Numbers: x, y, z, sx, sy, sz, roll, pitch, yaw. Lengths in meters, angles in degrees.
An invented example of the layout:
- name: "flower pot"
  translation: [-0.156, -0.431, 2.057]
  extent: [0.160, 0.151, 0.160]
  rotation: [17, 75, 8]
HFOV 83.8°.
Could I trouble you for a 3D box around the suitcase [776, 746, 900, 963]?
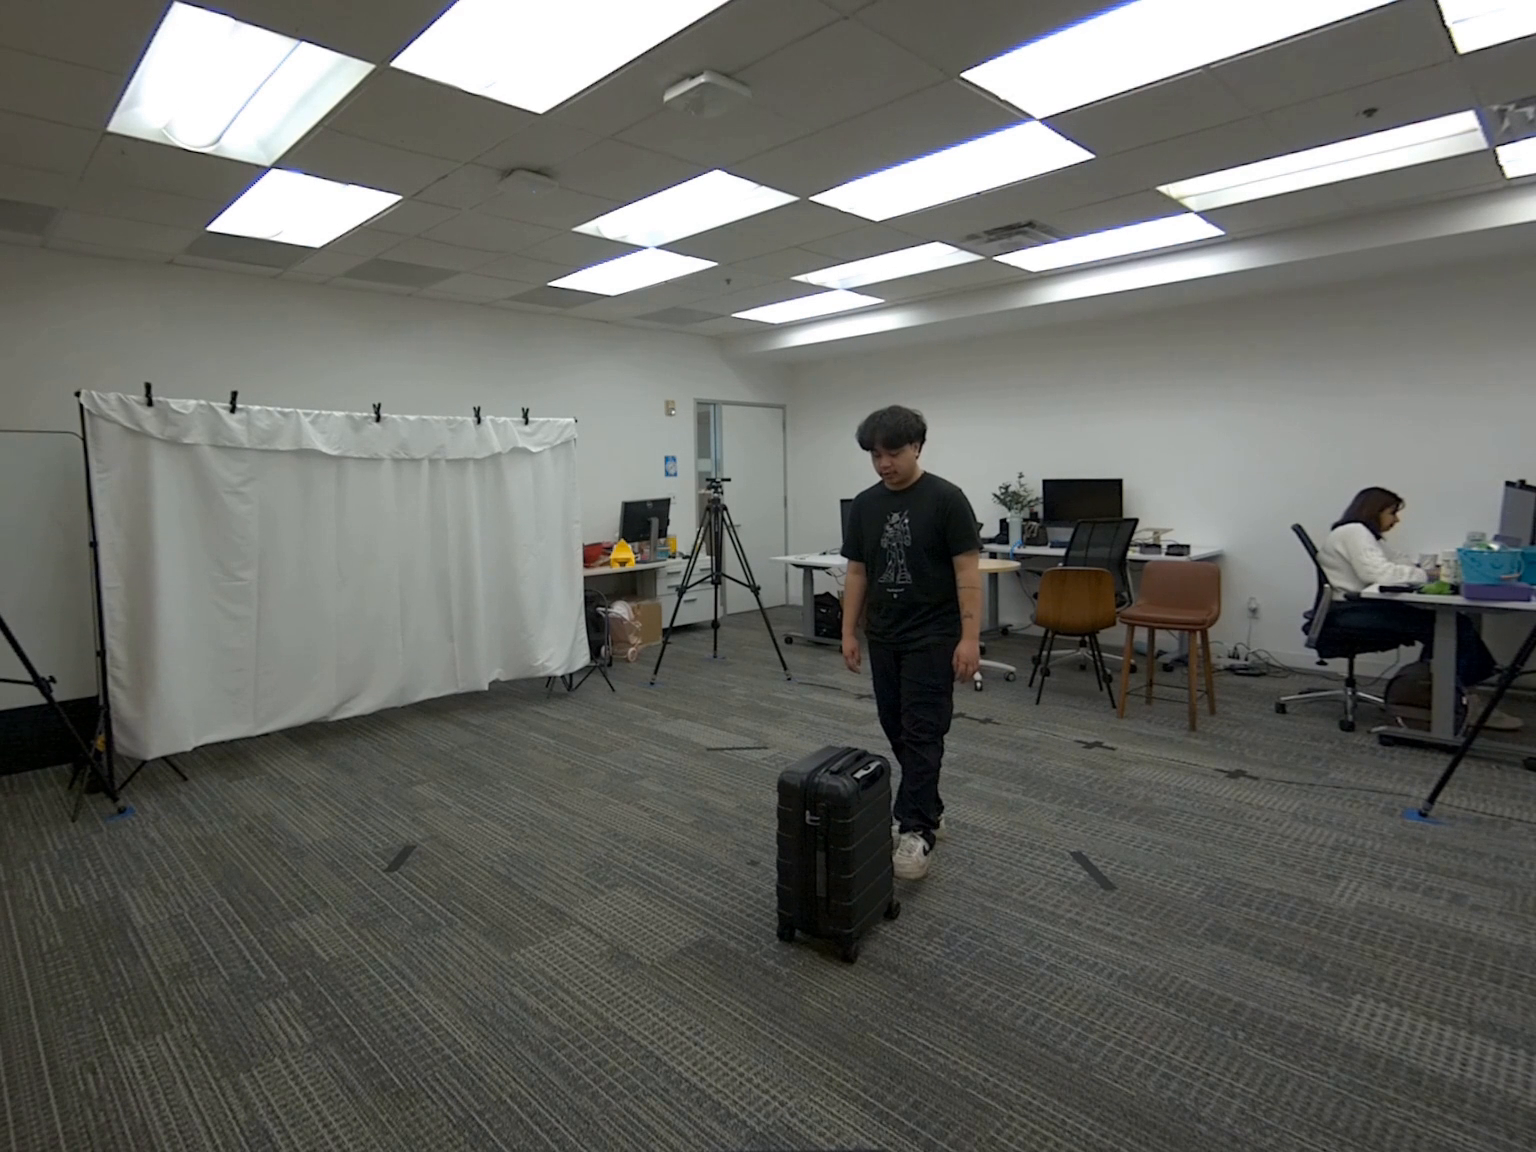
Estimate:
- name: "suitcase"
  translation: [0.214, 0.820, 2.610]
  extent: [0.255, 0.546, 0.367]
  rotation: [2, 7, 33]
